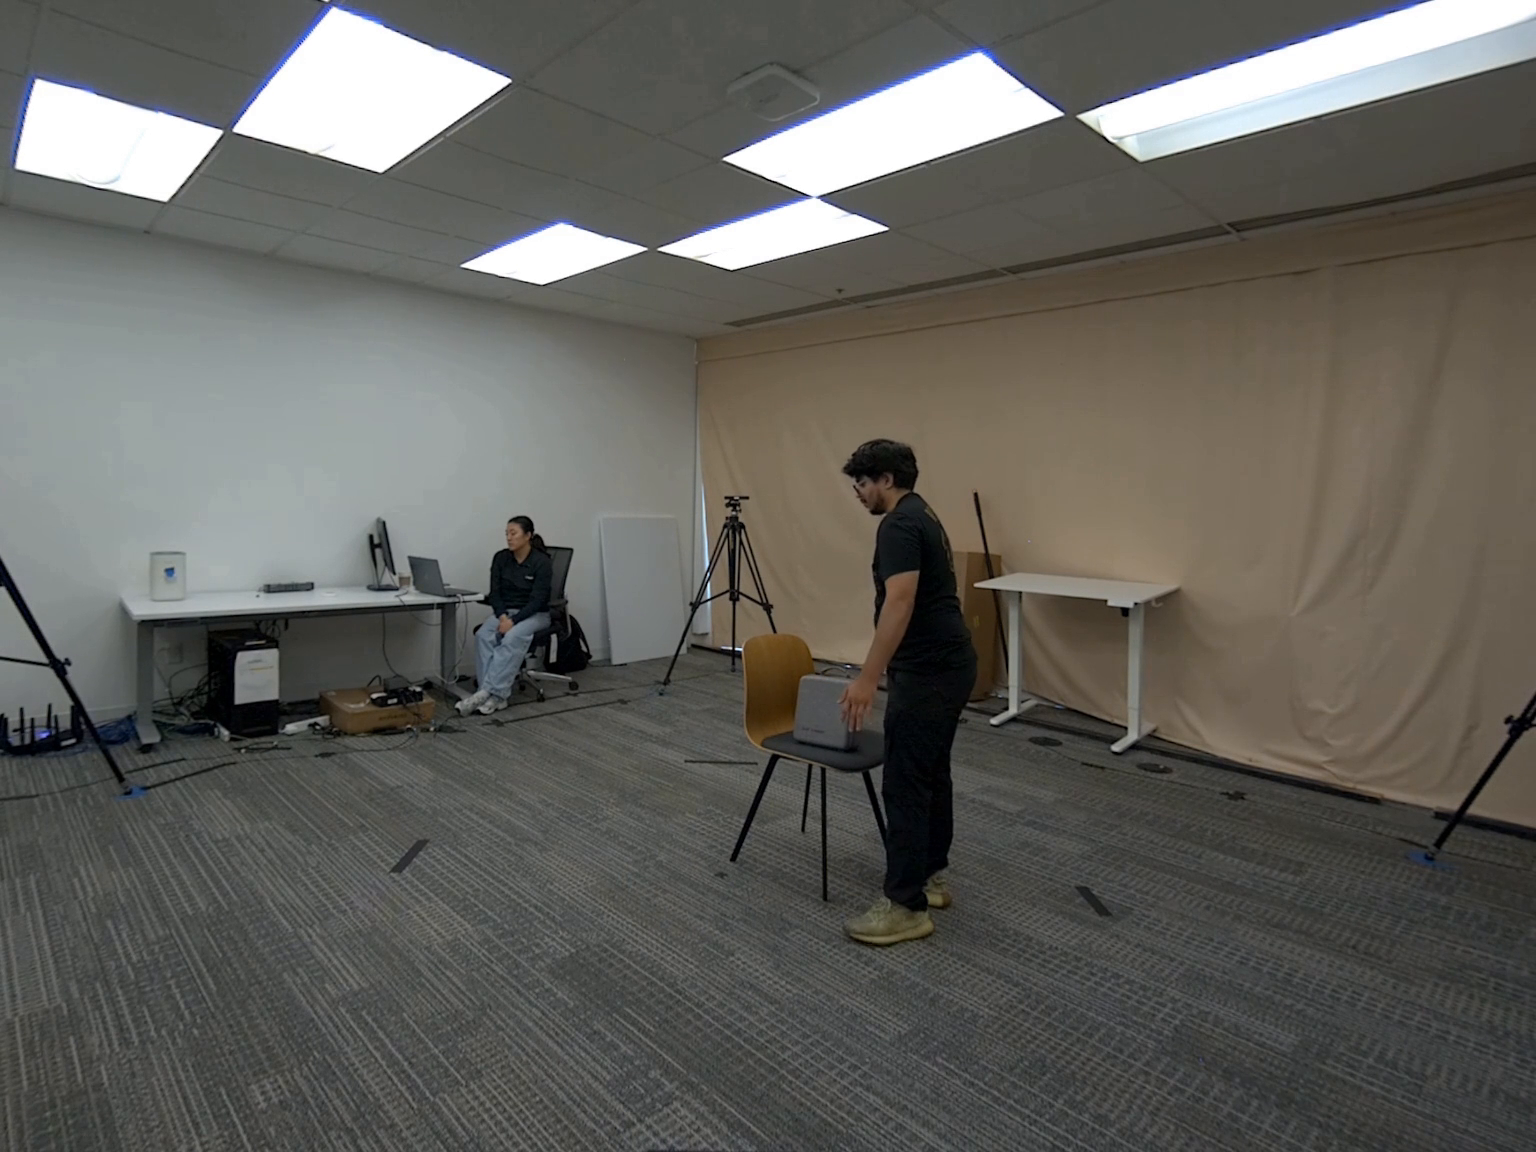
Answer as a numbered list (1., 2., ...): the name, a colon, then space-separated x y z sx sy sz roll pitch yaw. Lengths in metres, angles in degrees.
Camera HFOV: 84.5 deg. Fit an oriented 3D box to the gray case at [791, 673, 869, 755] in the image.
1. gray case: 0.233 0.507 3.143 0.263 0.262 0.101 -1 -12 41
